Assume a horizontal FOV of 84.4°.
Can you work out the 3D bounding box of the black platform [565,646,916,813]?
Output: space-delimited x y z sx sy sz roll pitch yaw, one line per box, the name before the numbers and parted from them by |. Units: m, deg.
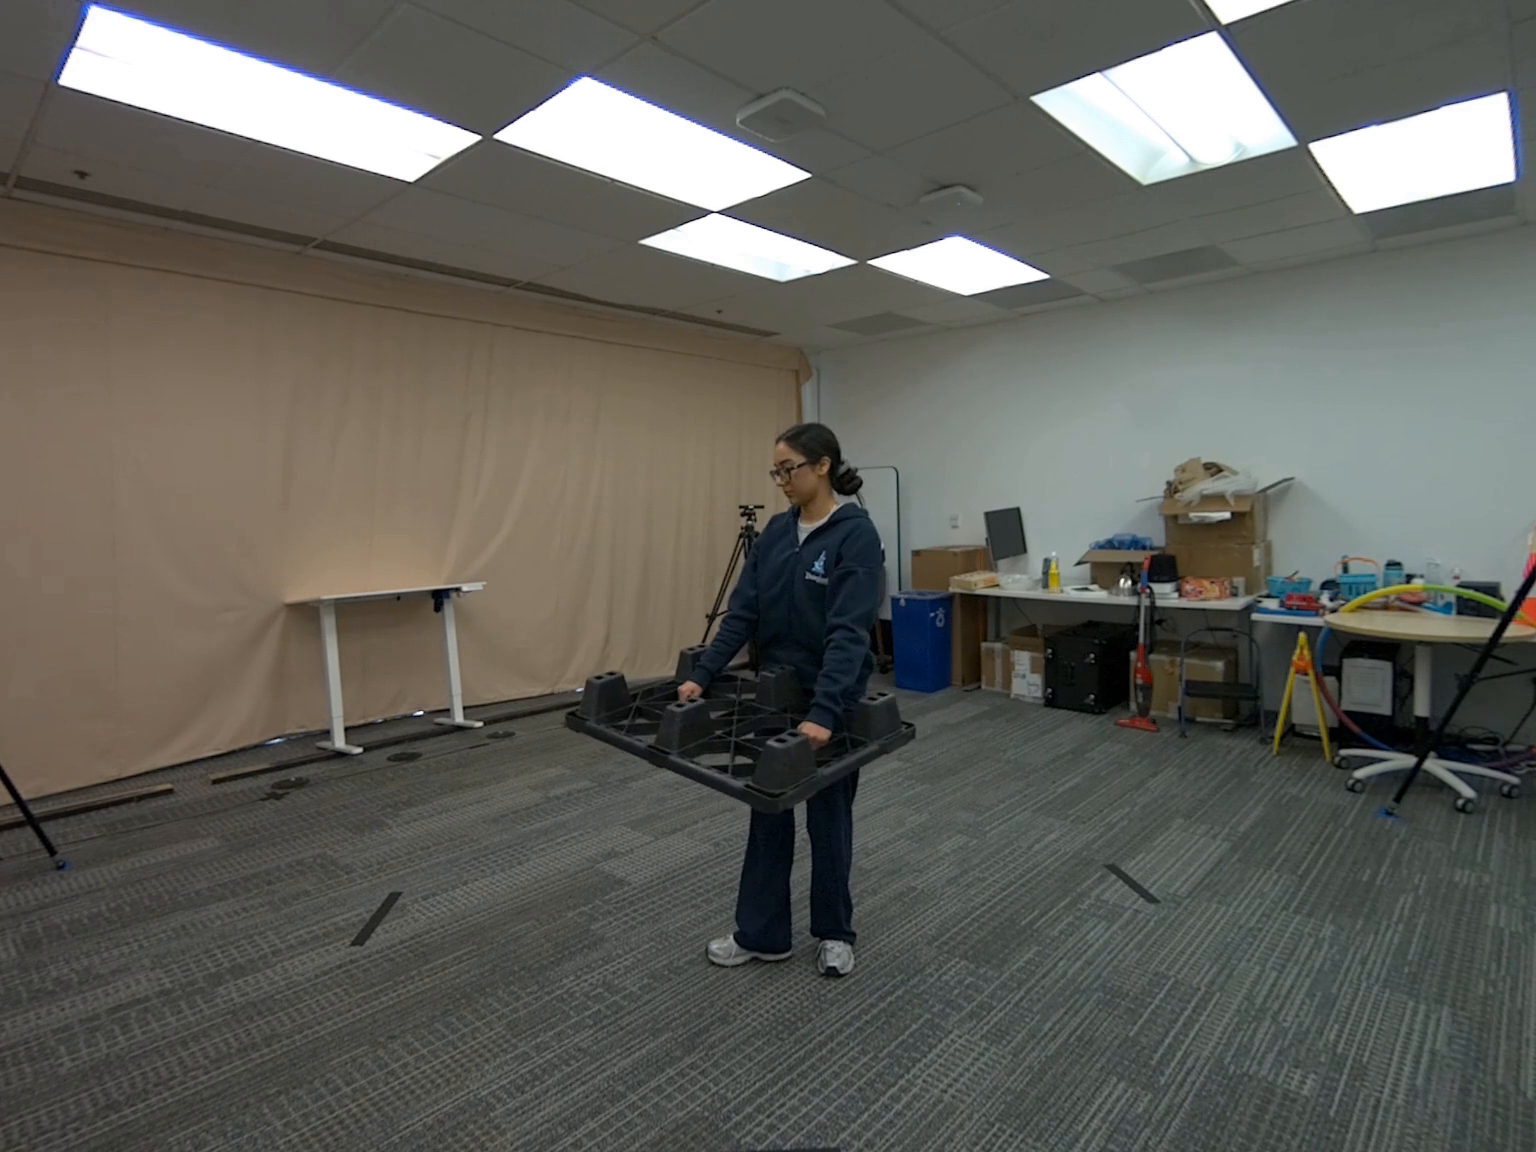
black platform | -0.092 0.370 2.319 0.834 0.142 0.589 10 16 42
